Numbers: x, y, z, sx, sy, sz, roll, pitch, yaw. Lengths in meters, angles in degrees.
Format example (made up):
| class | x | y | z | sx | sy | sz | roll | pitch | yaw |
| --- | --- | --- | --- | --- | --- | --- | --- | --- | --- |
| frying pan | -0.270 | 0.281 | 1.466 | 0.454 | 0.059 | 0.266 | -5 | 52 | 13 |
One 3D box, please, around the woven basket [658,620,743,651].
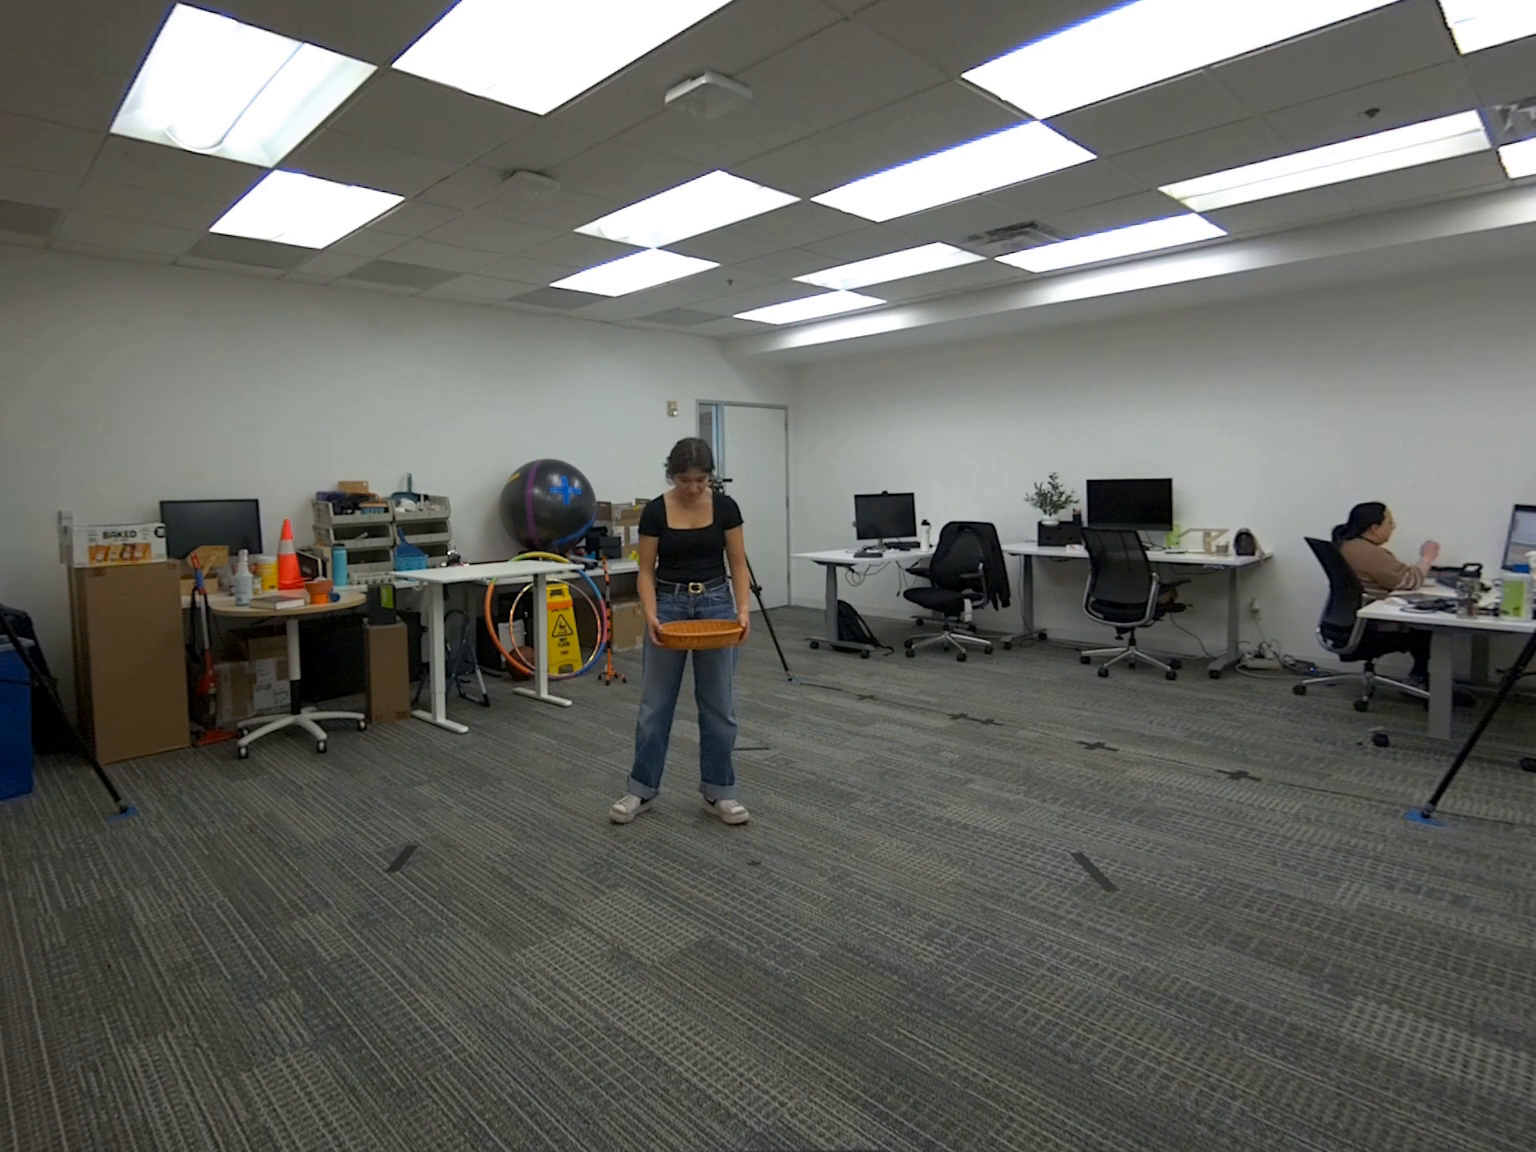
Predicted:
| class | x | y | z | sx | sy | sz | roll | pitch | yaw |
| --- | --- | --- | --- | --- | --- | --- | --- | --- | --- |
| woven basket | -0.263 | 0.236 | 3.338 | 0.348 | 0.073 | 0.255 | -3 | 8 | -6 |
